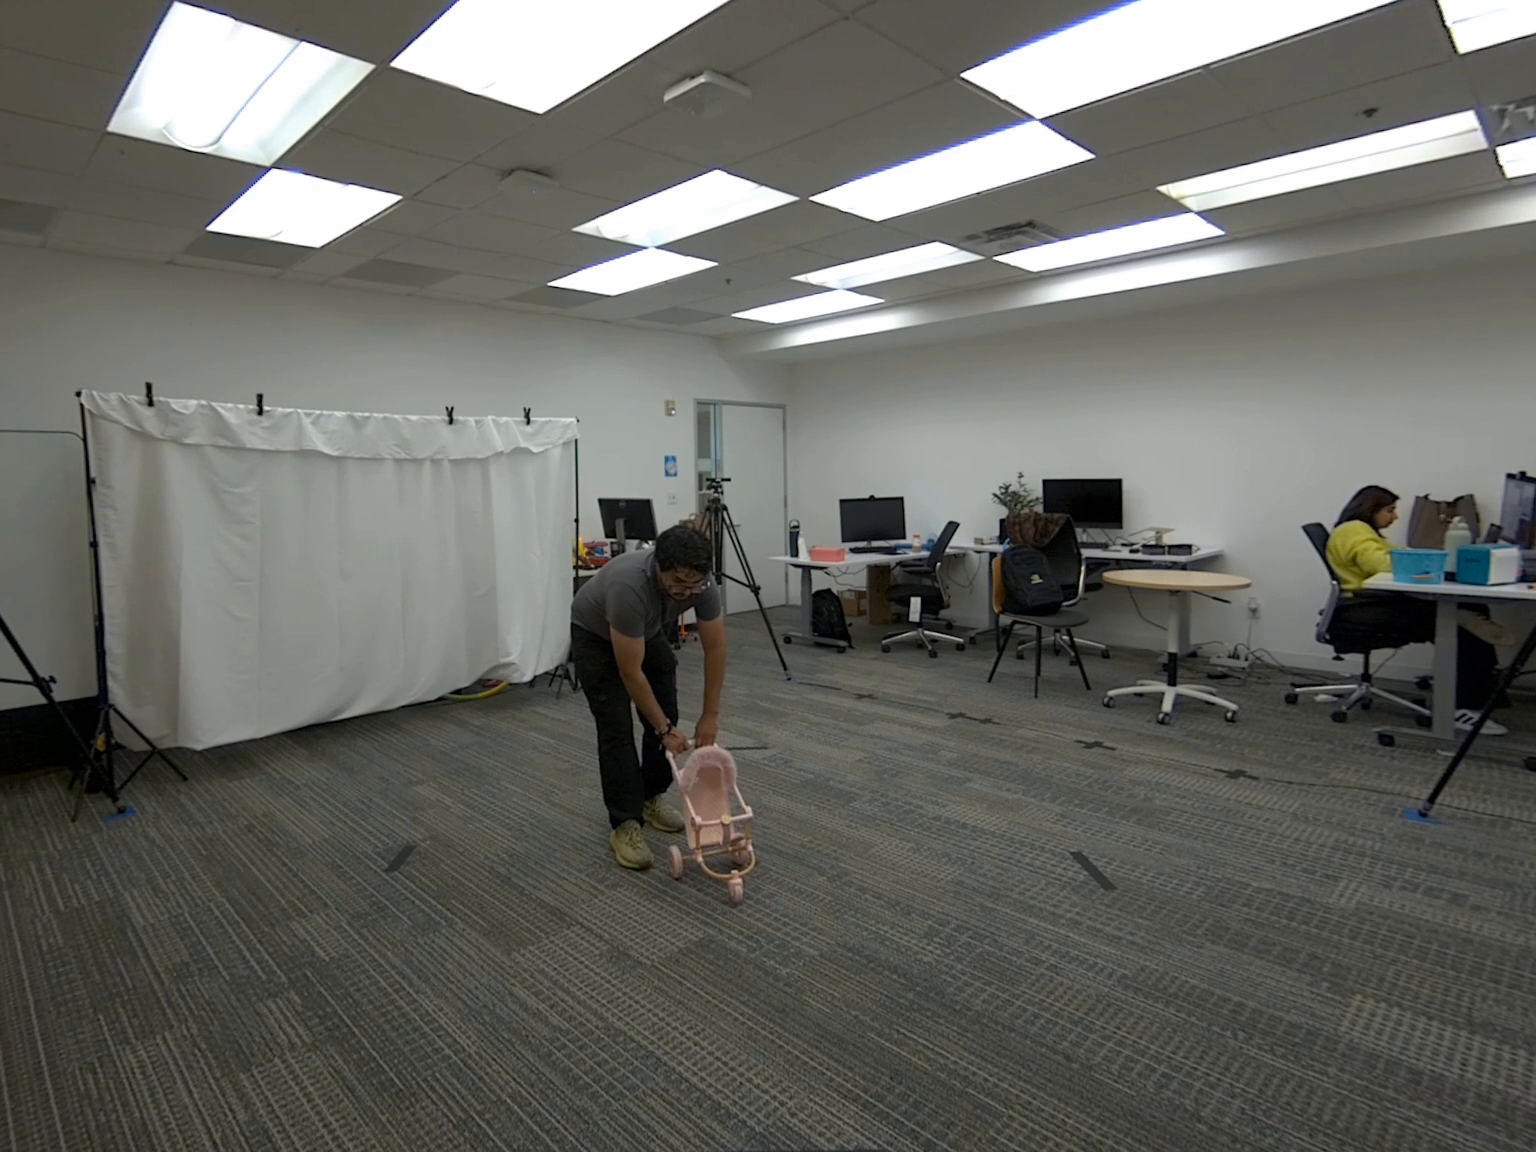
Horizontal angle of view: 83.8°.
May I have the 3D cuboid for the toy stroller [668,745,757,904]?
[{"bbox_3d":[-0.190,0.834,2.978,0.276,0.541,0.343,-3,-12,-21],"label":"toy stroller"}]
